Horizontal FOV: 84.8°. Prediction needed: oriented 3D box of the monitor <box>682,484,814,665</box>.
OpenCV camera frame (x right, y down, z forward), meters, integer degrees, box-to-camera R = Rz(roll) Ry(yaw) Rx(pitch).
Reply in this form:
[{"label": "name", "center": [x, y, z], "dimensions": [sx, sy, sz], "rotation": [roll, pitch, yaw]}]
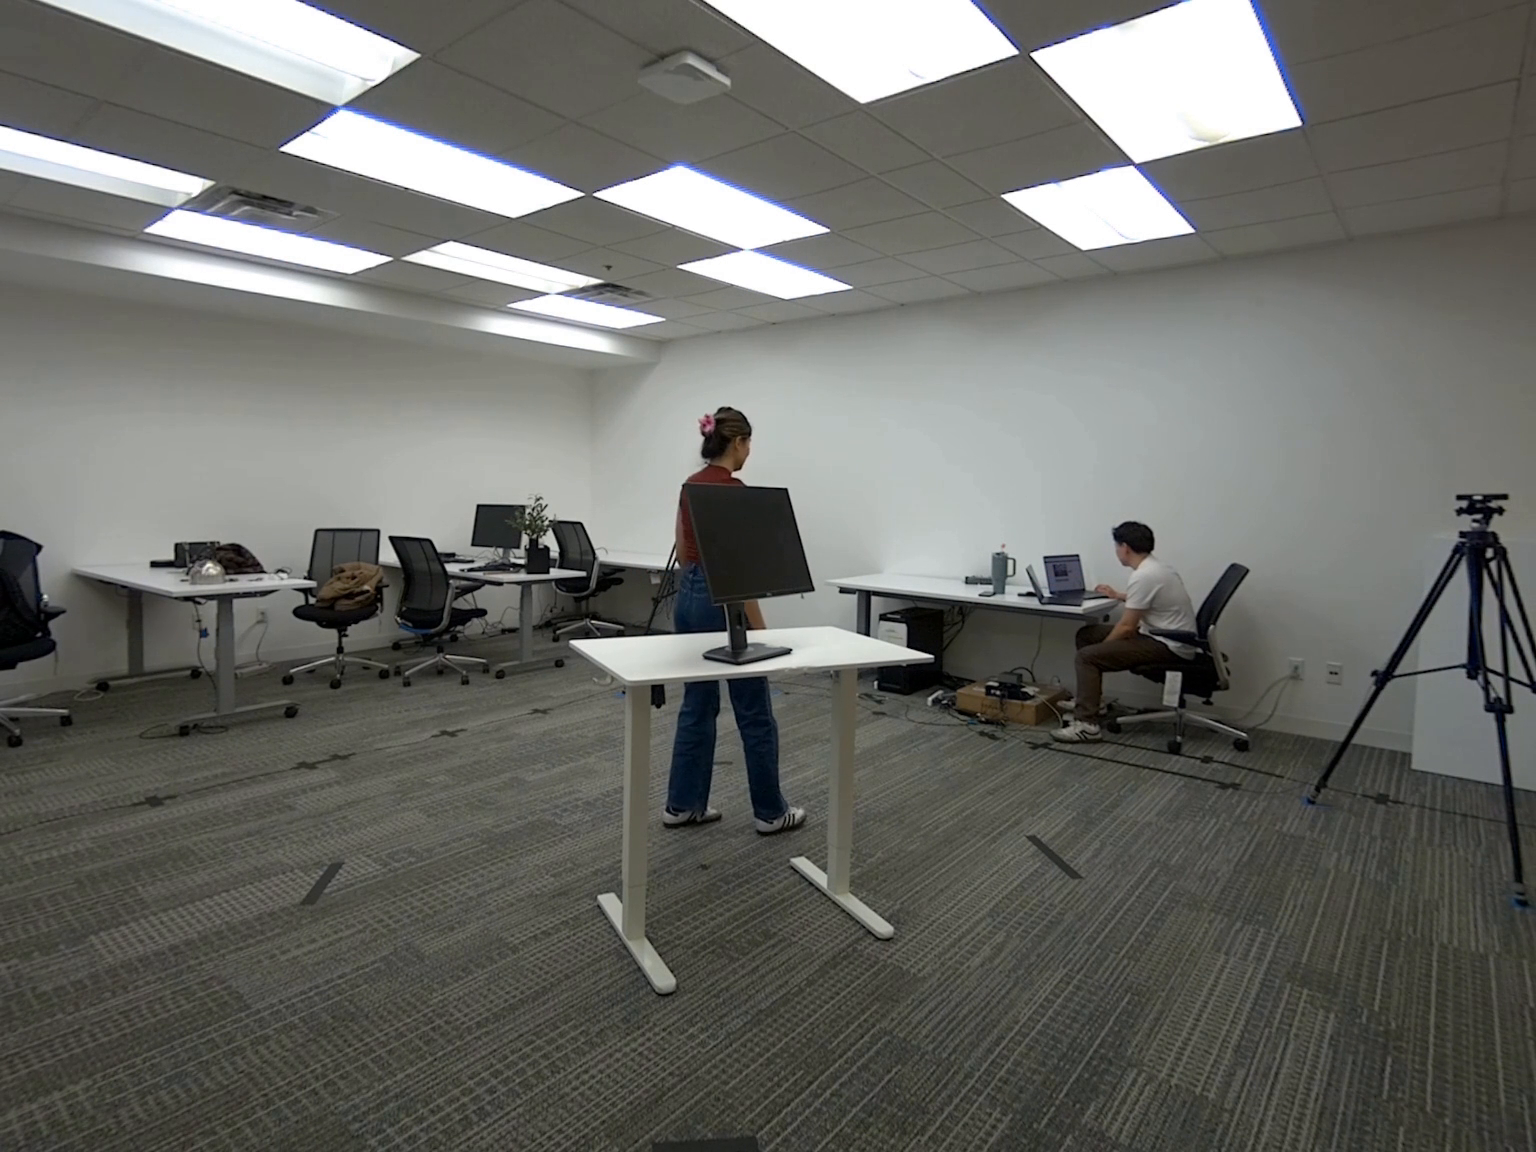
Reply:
[{"label": "monitor", "center": [-0.072, -0.016, 2.584], "dimensions": [0.192, 0.522, 0.524], "rotation": [-1, 1, 33]}]
